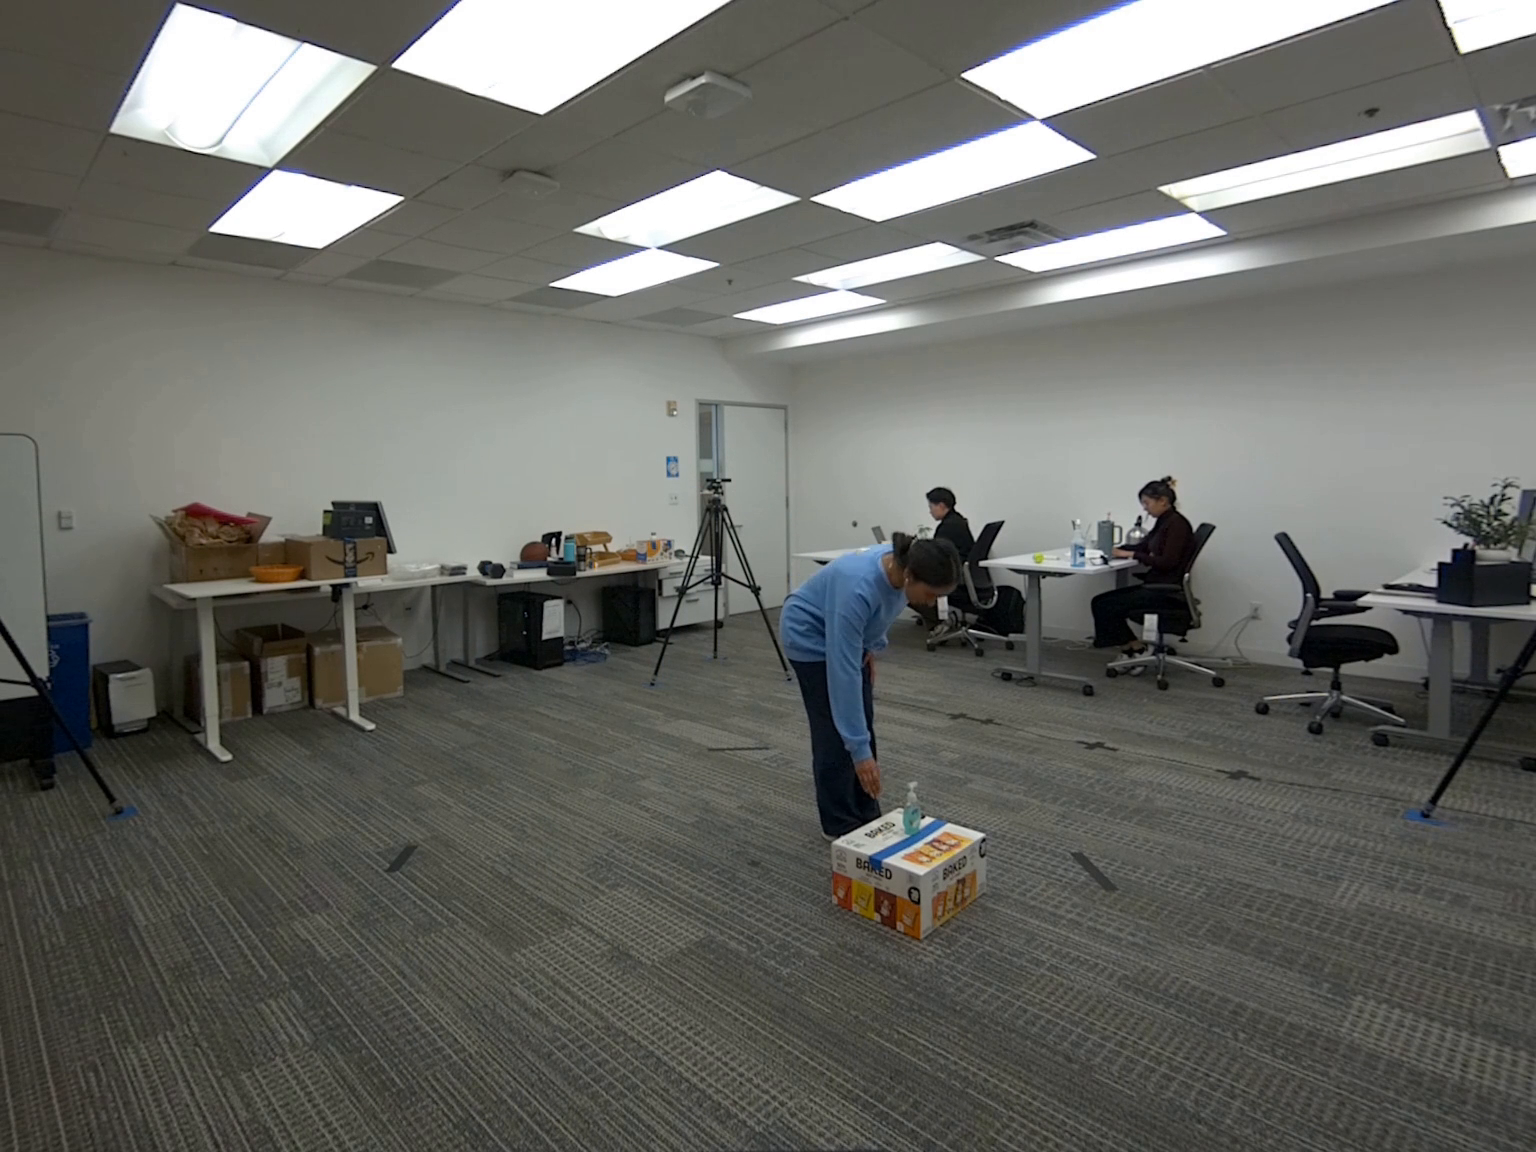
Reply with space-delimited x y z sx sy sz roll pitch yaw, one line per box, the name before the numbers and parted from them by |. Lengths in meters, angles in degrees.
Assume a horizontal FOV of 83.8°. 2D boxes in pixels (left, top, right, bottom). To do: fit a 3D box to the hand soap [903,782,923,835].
hand soap | 0.483 0.783 2.878 0.045 0.167 0.082 3 10 42
